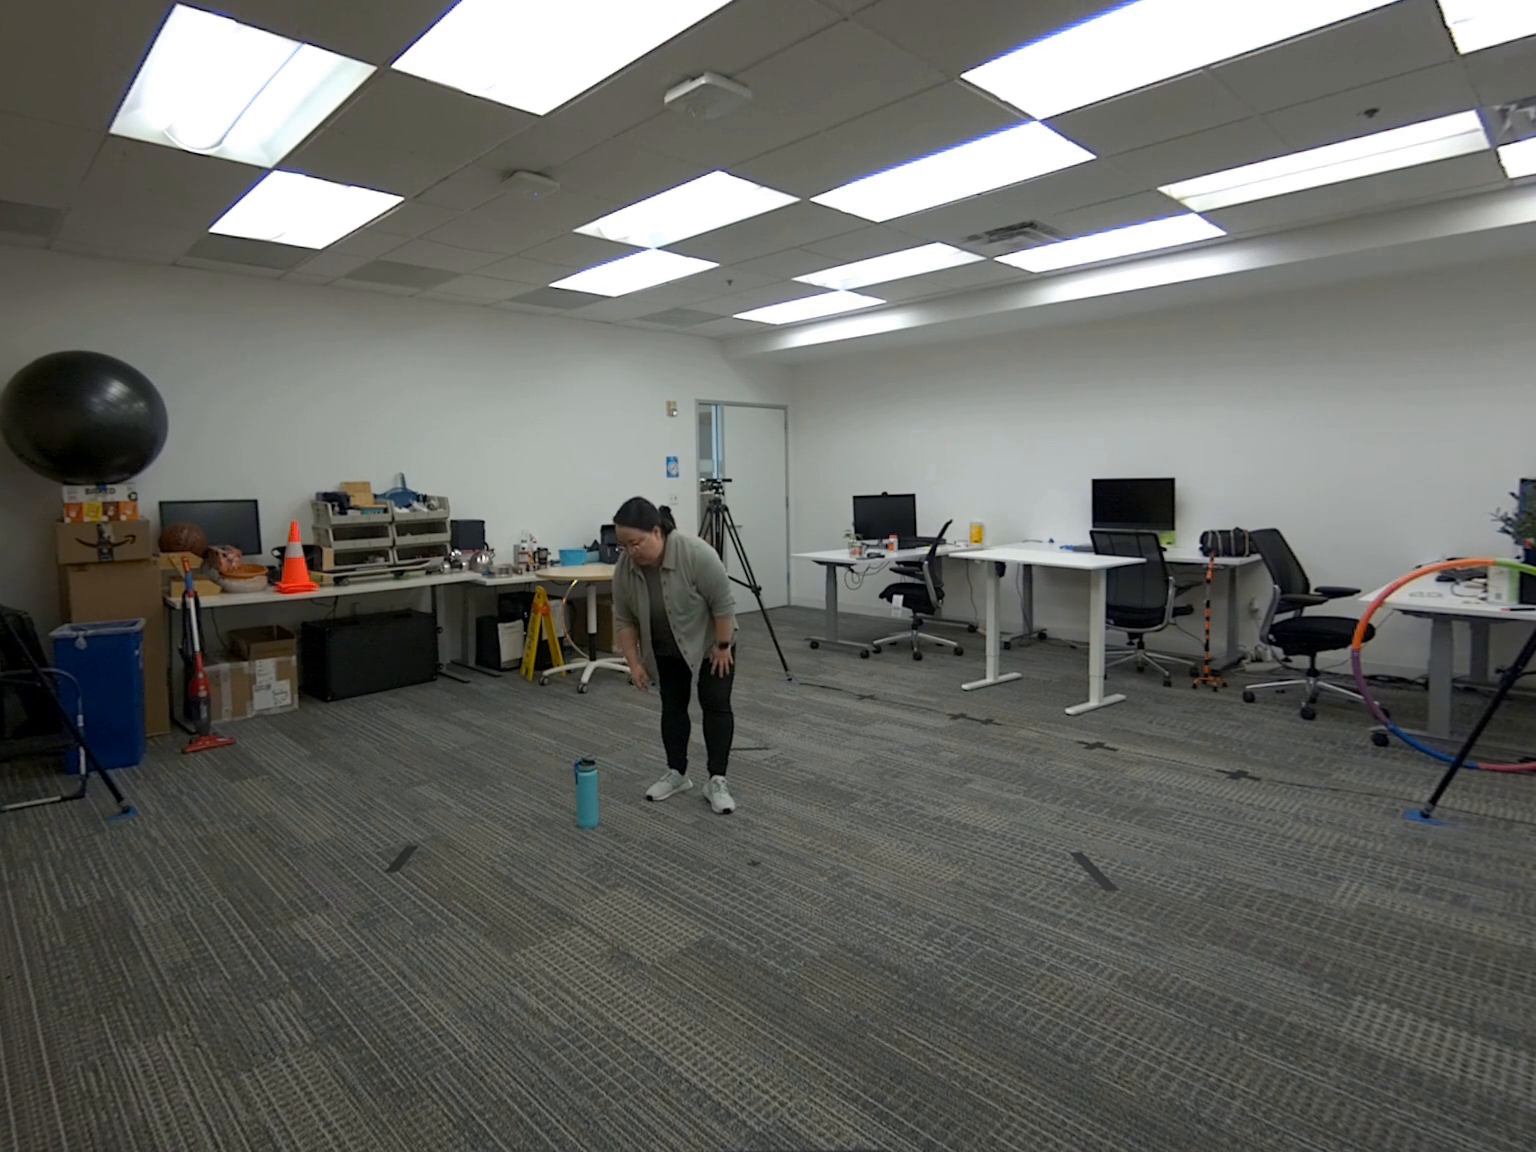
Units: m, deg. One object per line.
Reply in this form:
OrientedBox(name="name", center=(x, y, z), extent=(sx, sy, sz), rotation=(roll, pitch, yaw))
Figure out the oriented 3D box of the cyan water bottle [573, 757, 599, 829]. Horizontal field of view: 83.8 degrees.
OrientedBox(name="cyan water bottle", center=(-0.741, 0.876, 3.489), extent=(0.092, 0.282, 0.093), rotation=(-2, 3, -1))
